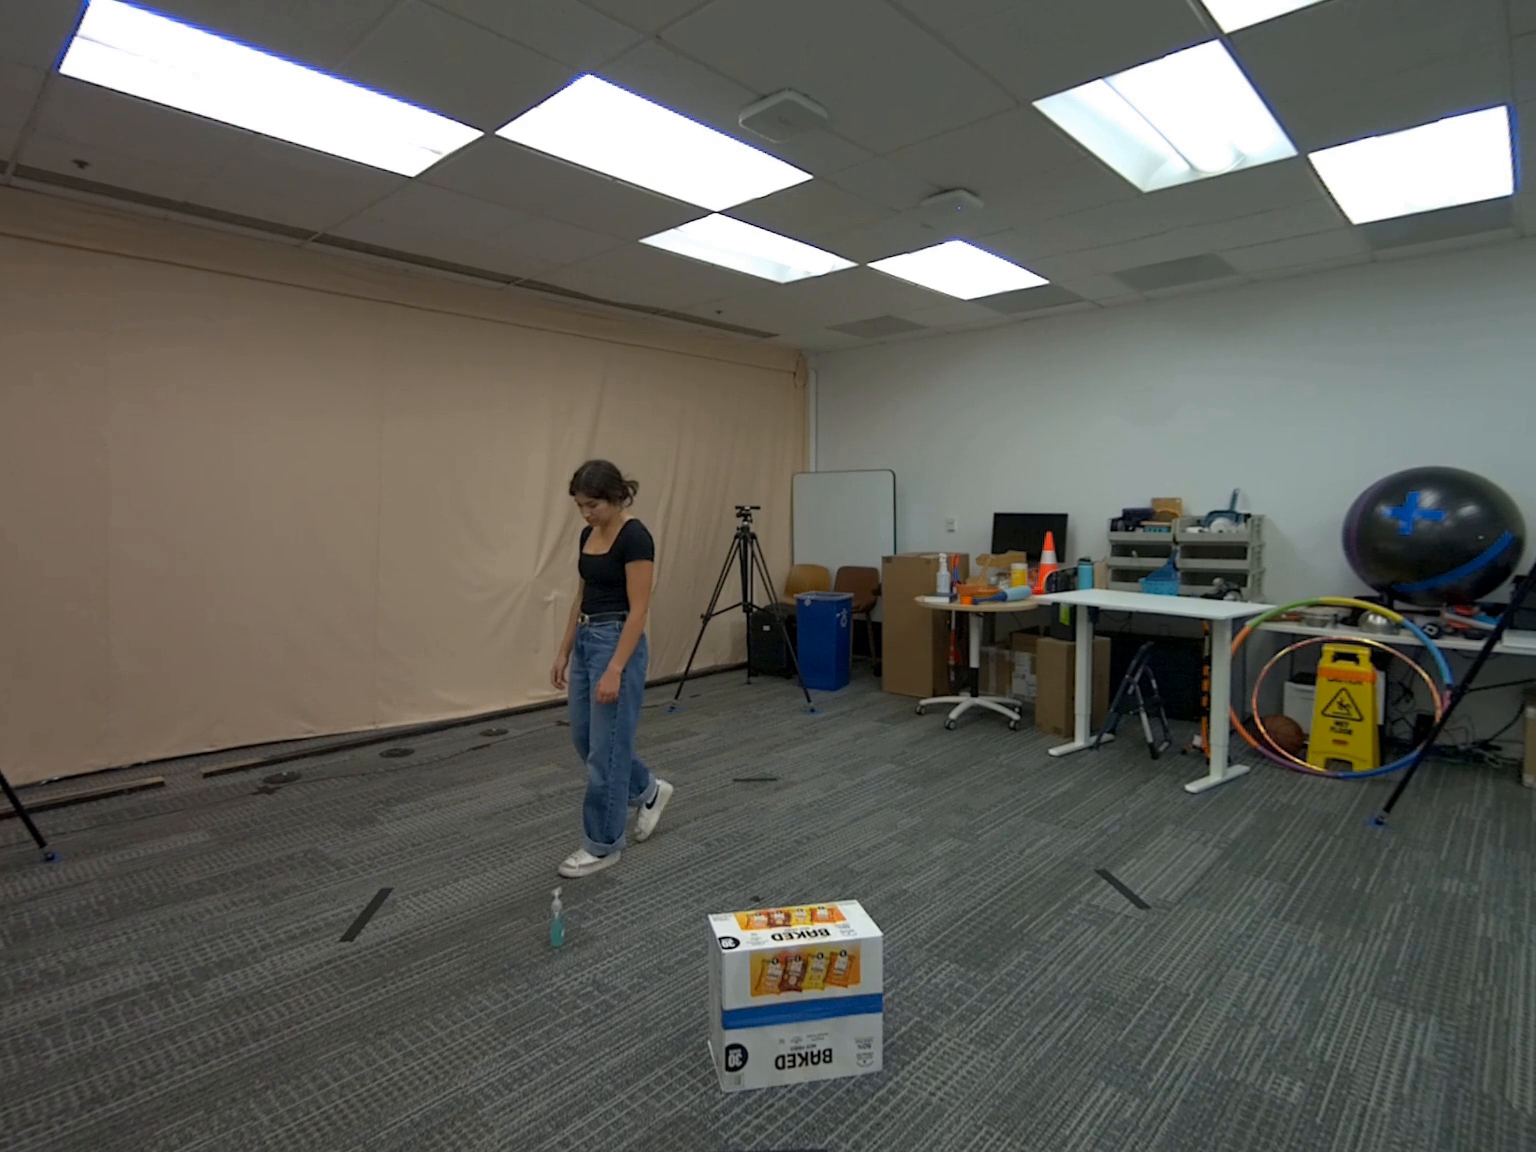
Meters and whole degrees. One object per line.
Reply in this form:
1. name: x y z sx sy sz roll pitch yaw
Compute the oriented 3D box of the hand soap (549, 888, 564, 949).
1. hand soap: -0.672 1.087 2.694 0.043 0.168 0.085 2 5 -3
